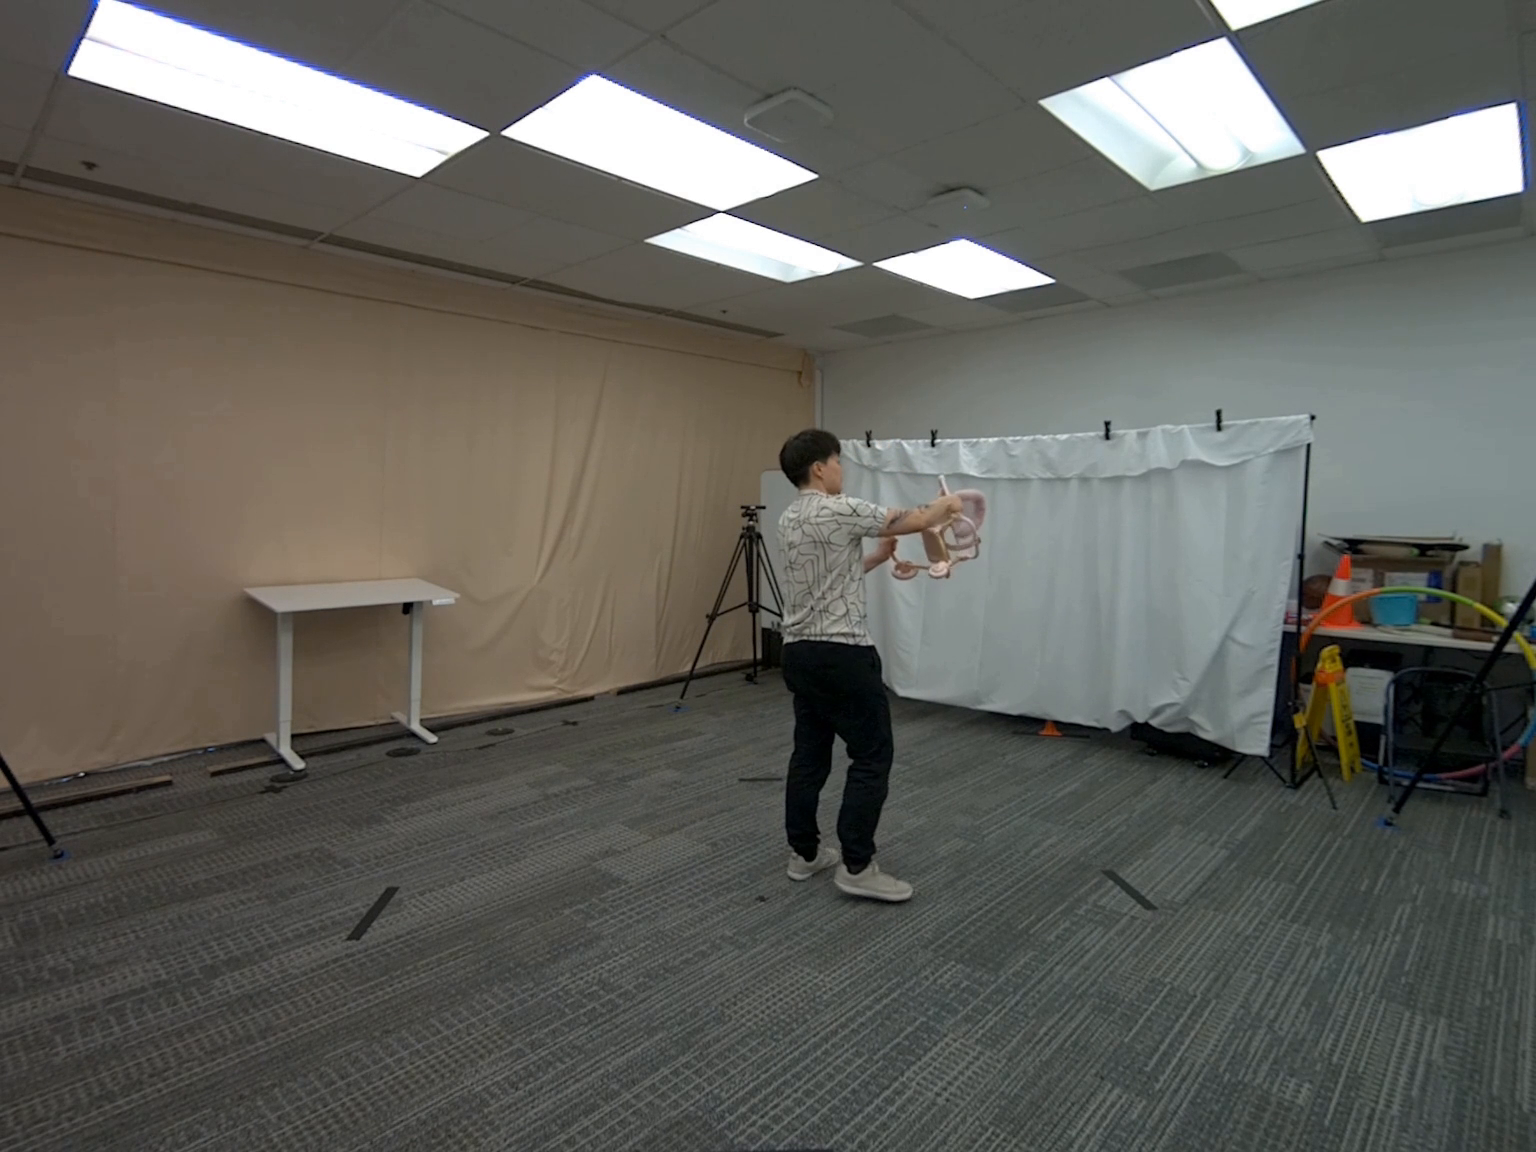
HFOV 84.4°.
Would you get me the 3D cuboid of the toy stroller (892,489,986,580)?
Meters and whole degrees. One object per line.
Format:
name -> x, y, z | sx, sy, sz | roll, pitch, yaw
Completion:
toy stroller -> 0.707, -0.178, 3.327 | 0.529, 0.274, 0.354 | -40, 34, -29
